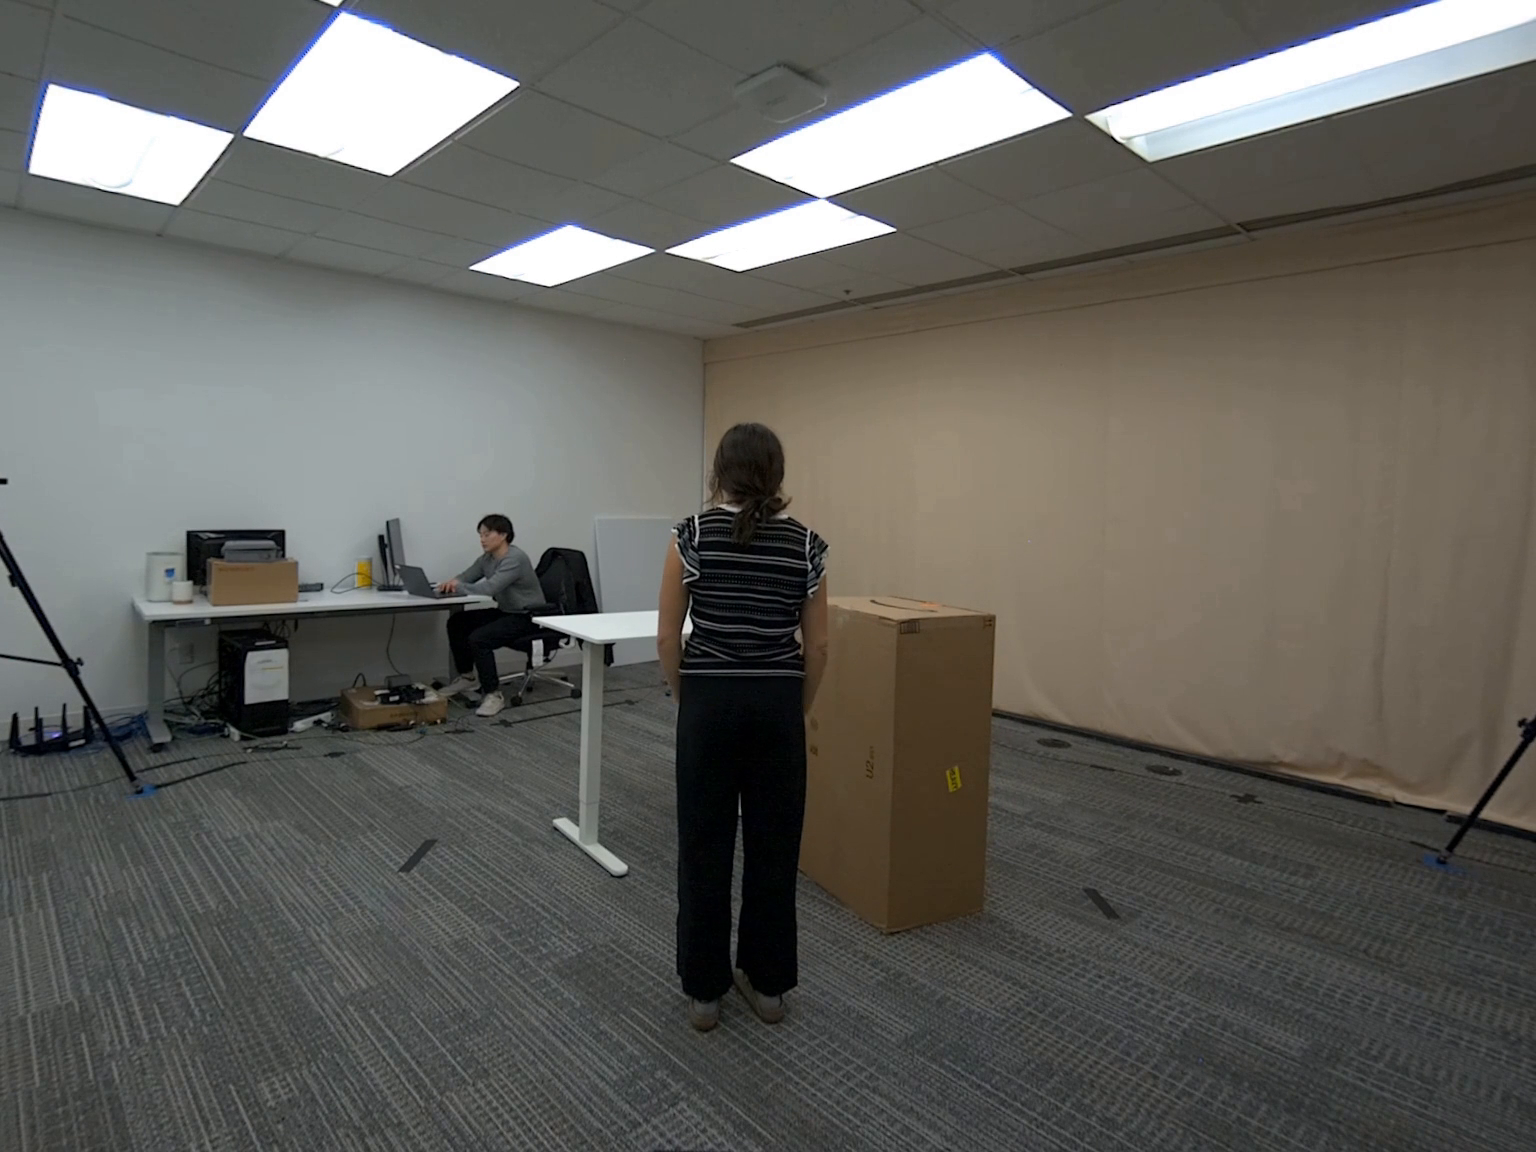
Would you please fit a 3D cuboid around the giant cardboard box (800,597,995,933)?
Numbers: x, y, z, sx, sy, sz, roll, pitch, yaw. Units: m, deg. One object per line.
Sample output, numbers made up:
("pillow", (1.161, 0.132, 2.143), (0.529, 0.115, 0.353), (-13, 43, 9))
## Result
("giant cardboard box", (0.431, 0.617, 3.026), (0.418, 1.024, 0.590), (0, 3, -29))
